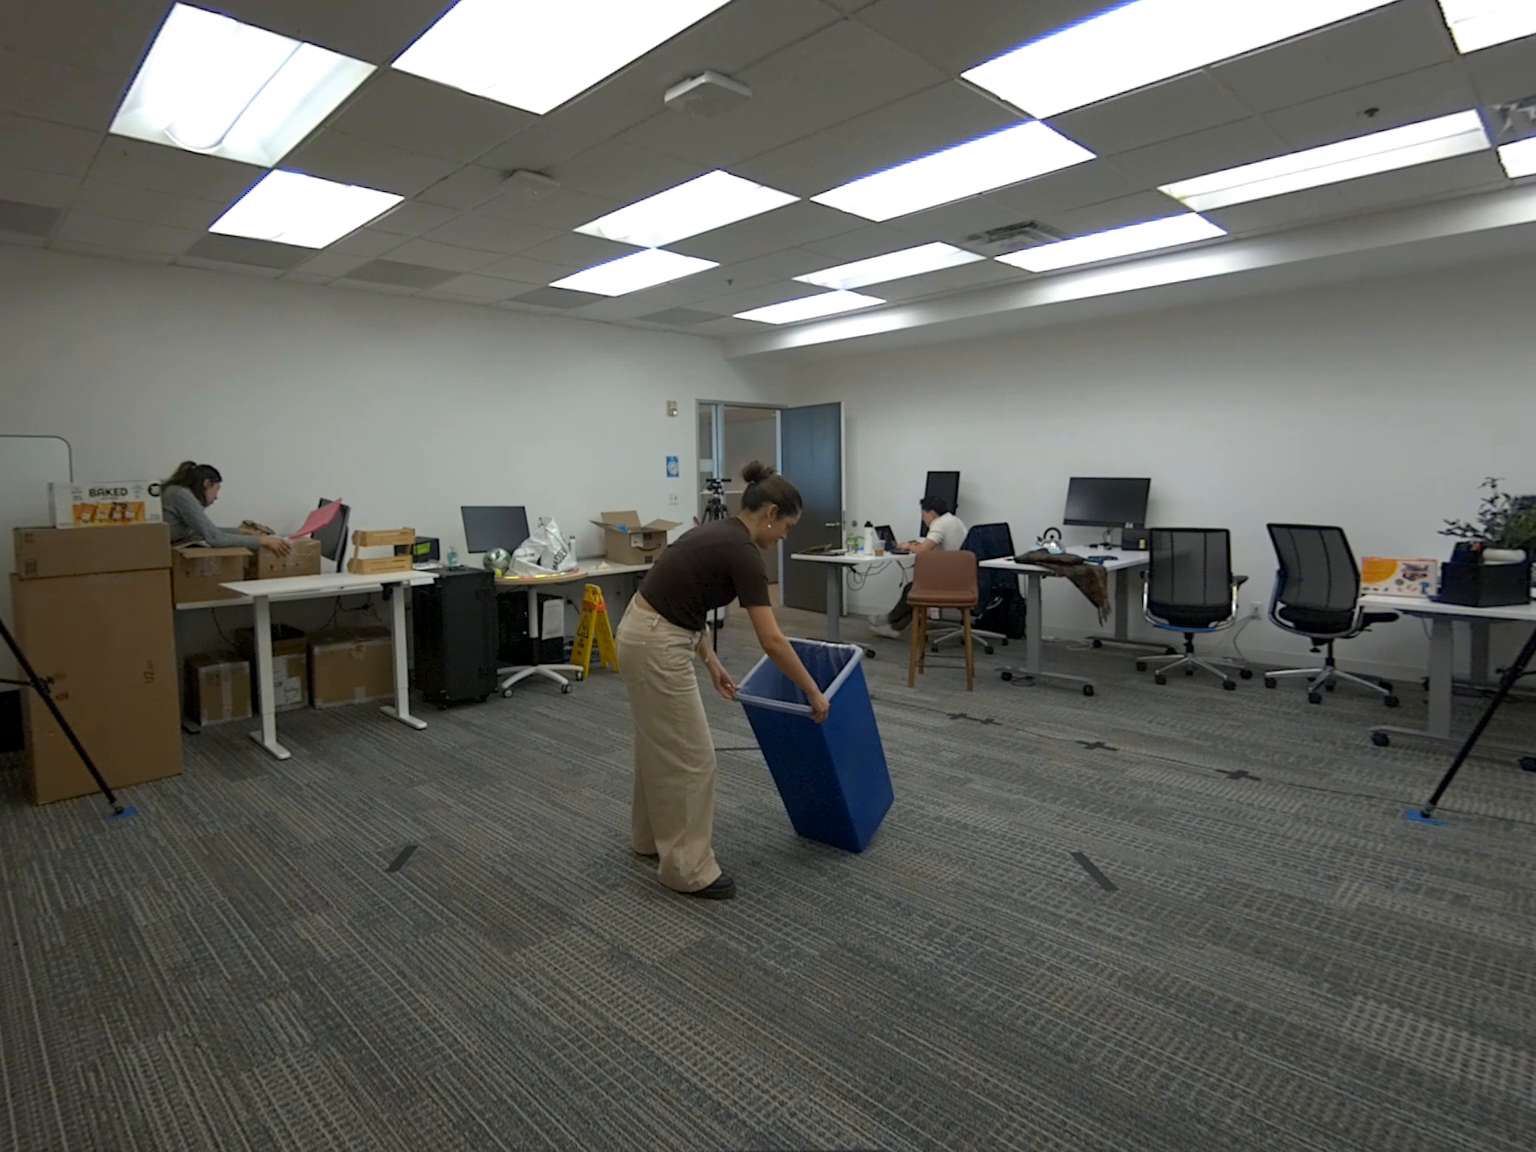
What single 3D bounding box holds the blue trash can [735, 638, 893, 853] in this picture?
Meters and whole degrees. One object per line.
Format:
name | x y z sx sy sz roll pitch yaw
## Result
blue trash can | 0.202 0.644 3.210 0.389 0.695 0.372 3 31 38
